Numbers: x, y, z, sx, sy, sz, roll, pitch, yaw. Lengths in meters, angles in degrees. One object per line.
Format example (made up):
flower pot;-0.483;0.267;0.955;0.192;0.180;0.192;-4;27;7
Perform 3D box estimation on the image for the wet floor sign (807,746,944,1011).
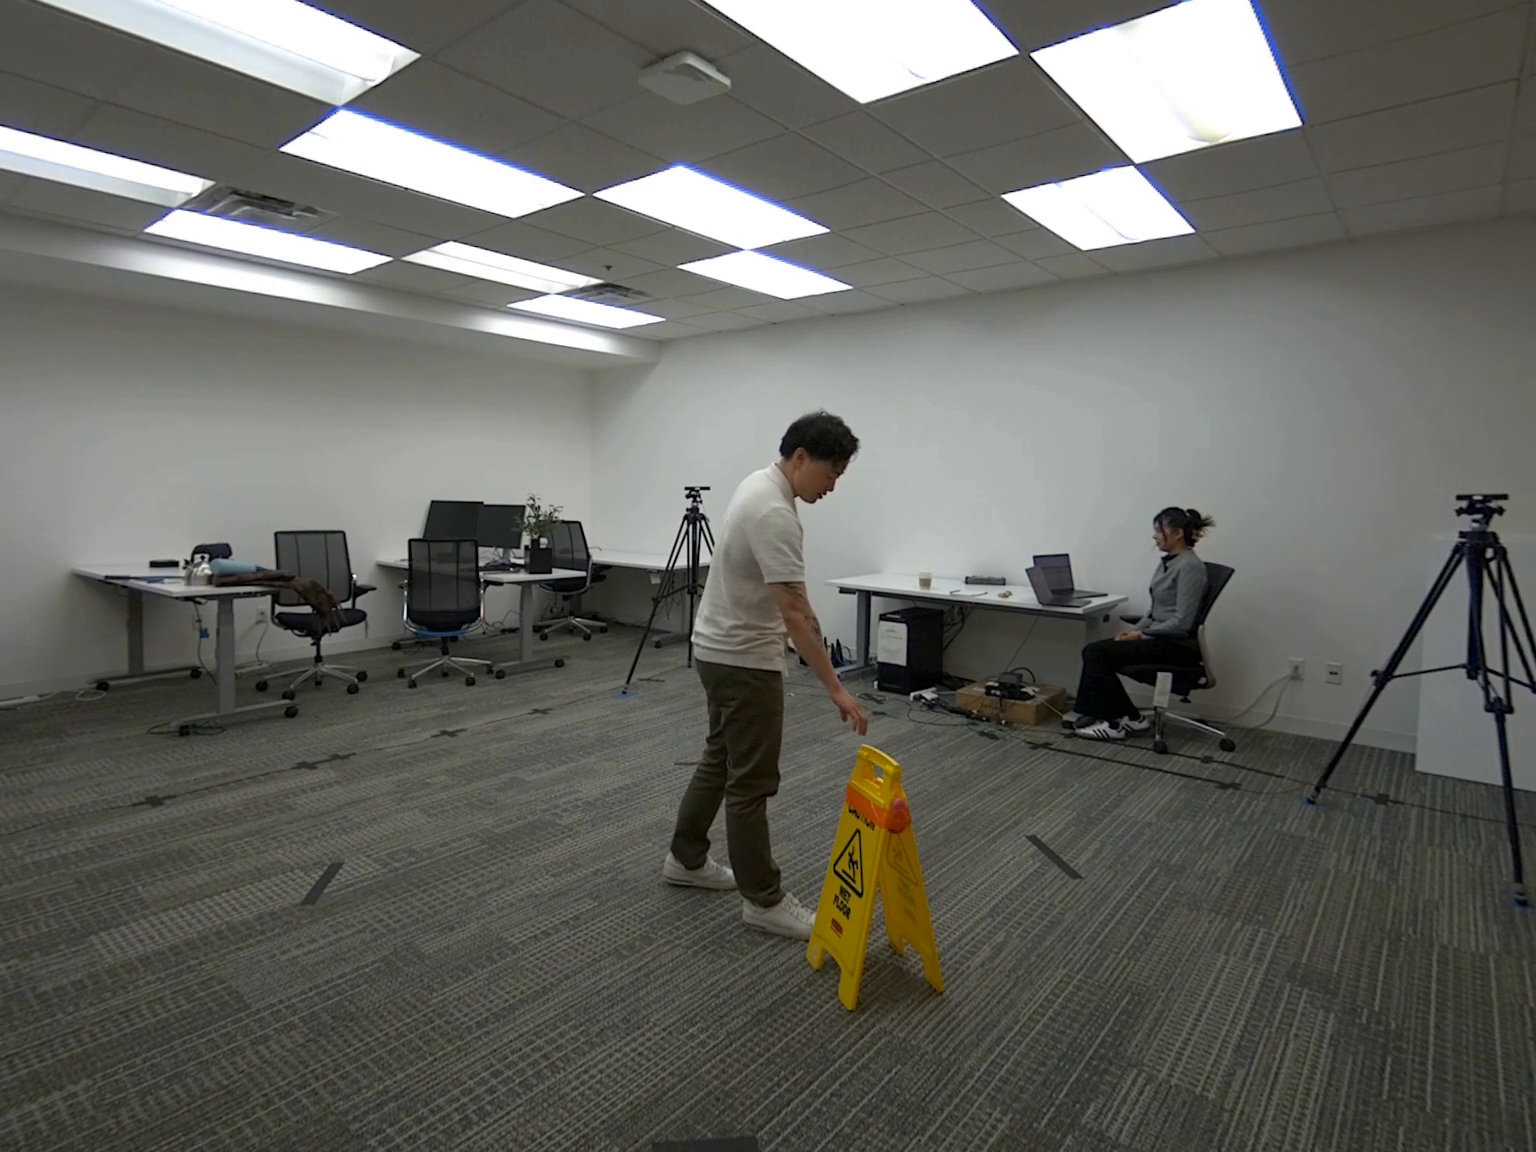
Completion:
wet floor sign;0.304;0.819;2.422;0.284;0.644;0.289;0;4;-22
